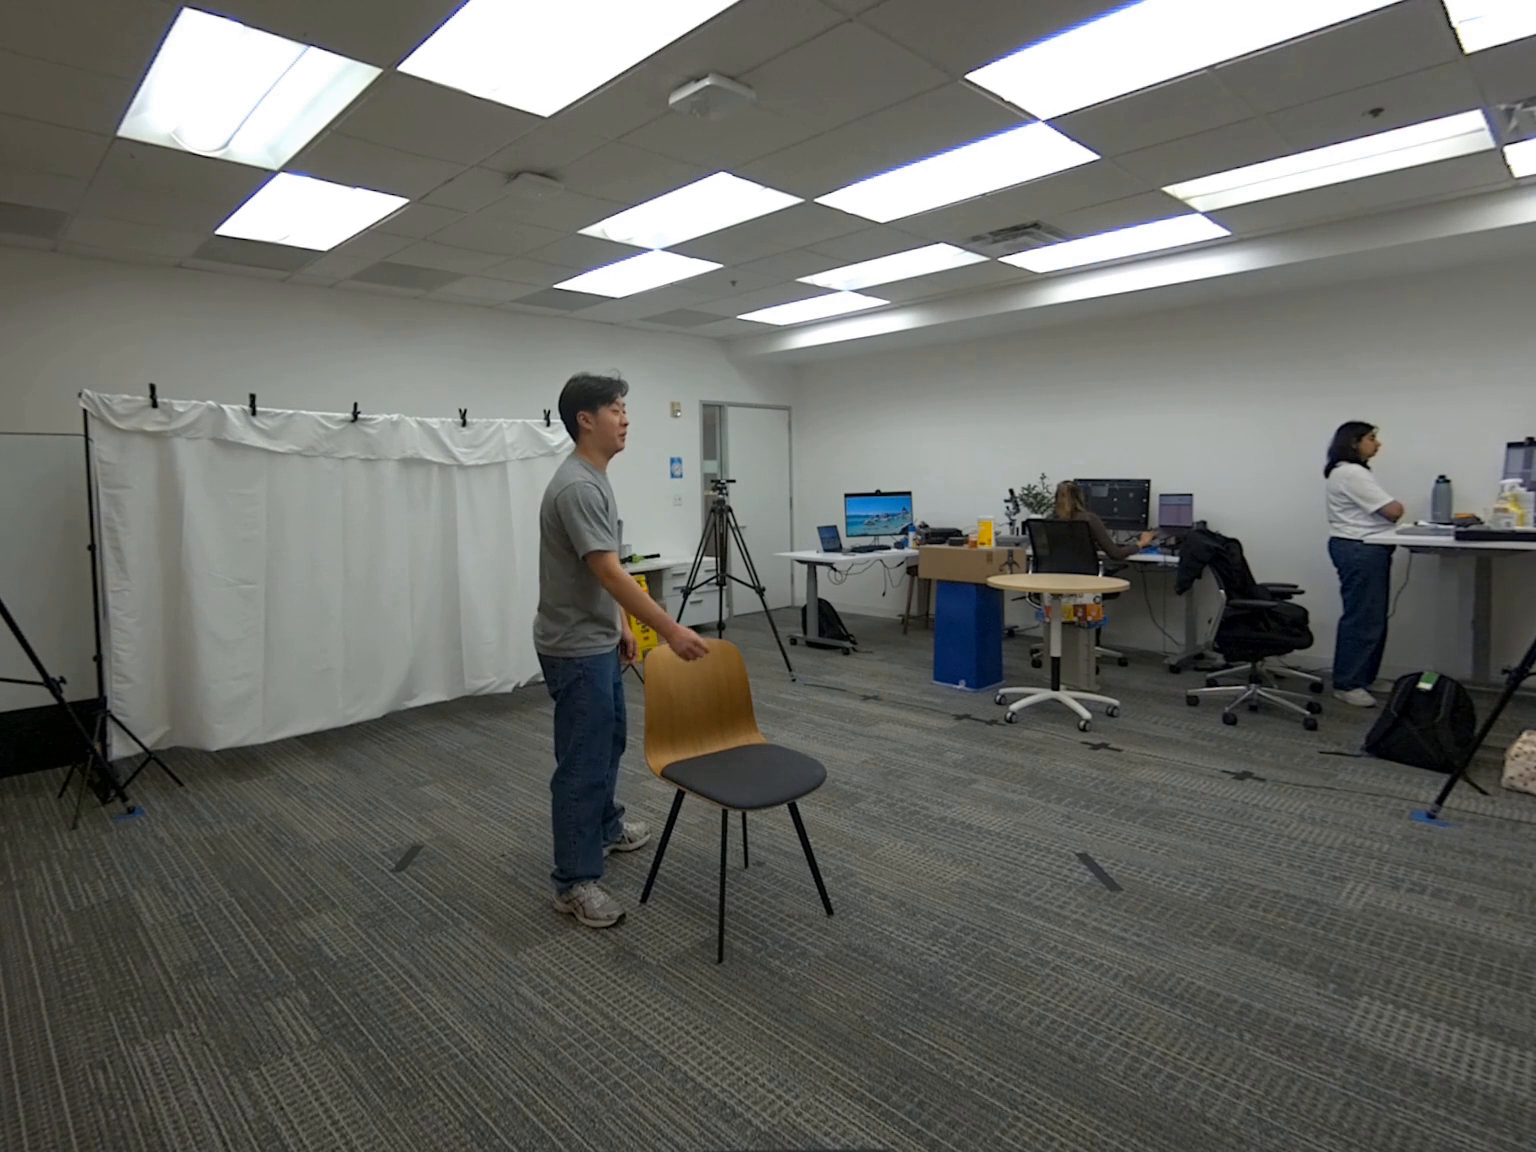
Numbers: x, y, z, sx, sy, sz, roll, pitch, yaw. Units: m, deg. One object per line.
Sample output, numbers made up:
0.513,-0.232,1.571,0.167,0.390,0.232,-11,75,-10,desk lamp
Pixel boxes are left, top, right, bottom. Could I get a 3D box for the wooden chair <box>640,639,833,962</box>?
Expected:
-0.105,0.661,2.744,0.466,0.877,0.537,-4,1,-37,wooden chair
